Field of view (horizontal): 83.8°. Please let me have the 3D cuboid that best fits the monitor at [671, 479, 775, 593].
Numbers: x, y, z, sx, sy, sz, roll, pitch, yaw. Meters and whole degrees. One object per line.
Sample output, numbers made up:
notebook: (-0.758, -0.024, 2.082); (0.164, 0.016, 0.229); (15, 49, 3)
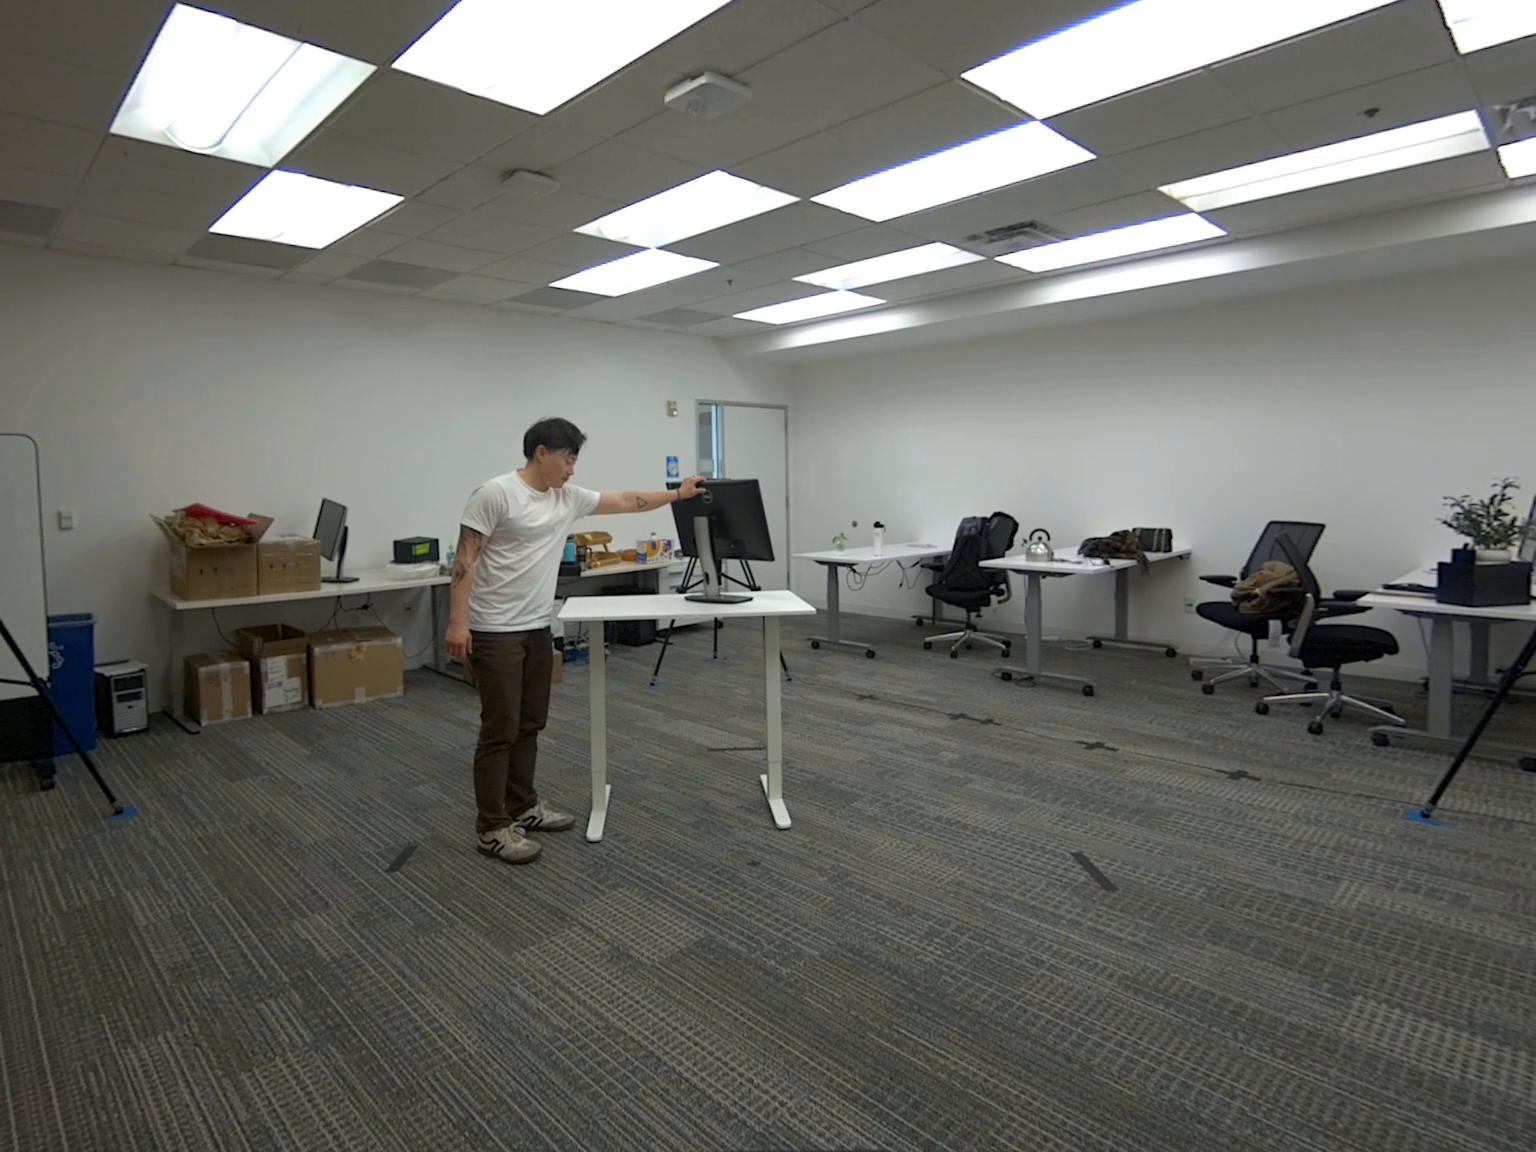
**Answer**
monitor: (-0.229, -0.145, 3.647); (0.555, 0.520, 0.182); (2, 6, 40)
